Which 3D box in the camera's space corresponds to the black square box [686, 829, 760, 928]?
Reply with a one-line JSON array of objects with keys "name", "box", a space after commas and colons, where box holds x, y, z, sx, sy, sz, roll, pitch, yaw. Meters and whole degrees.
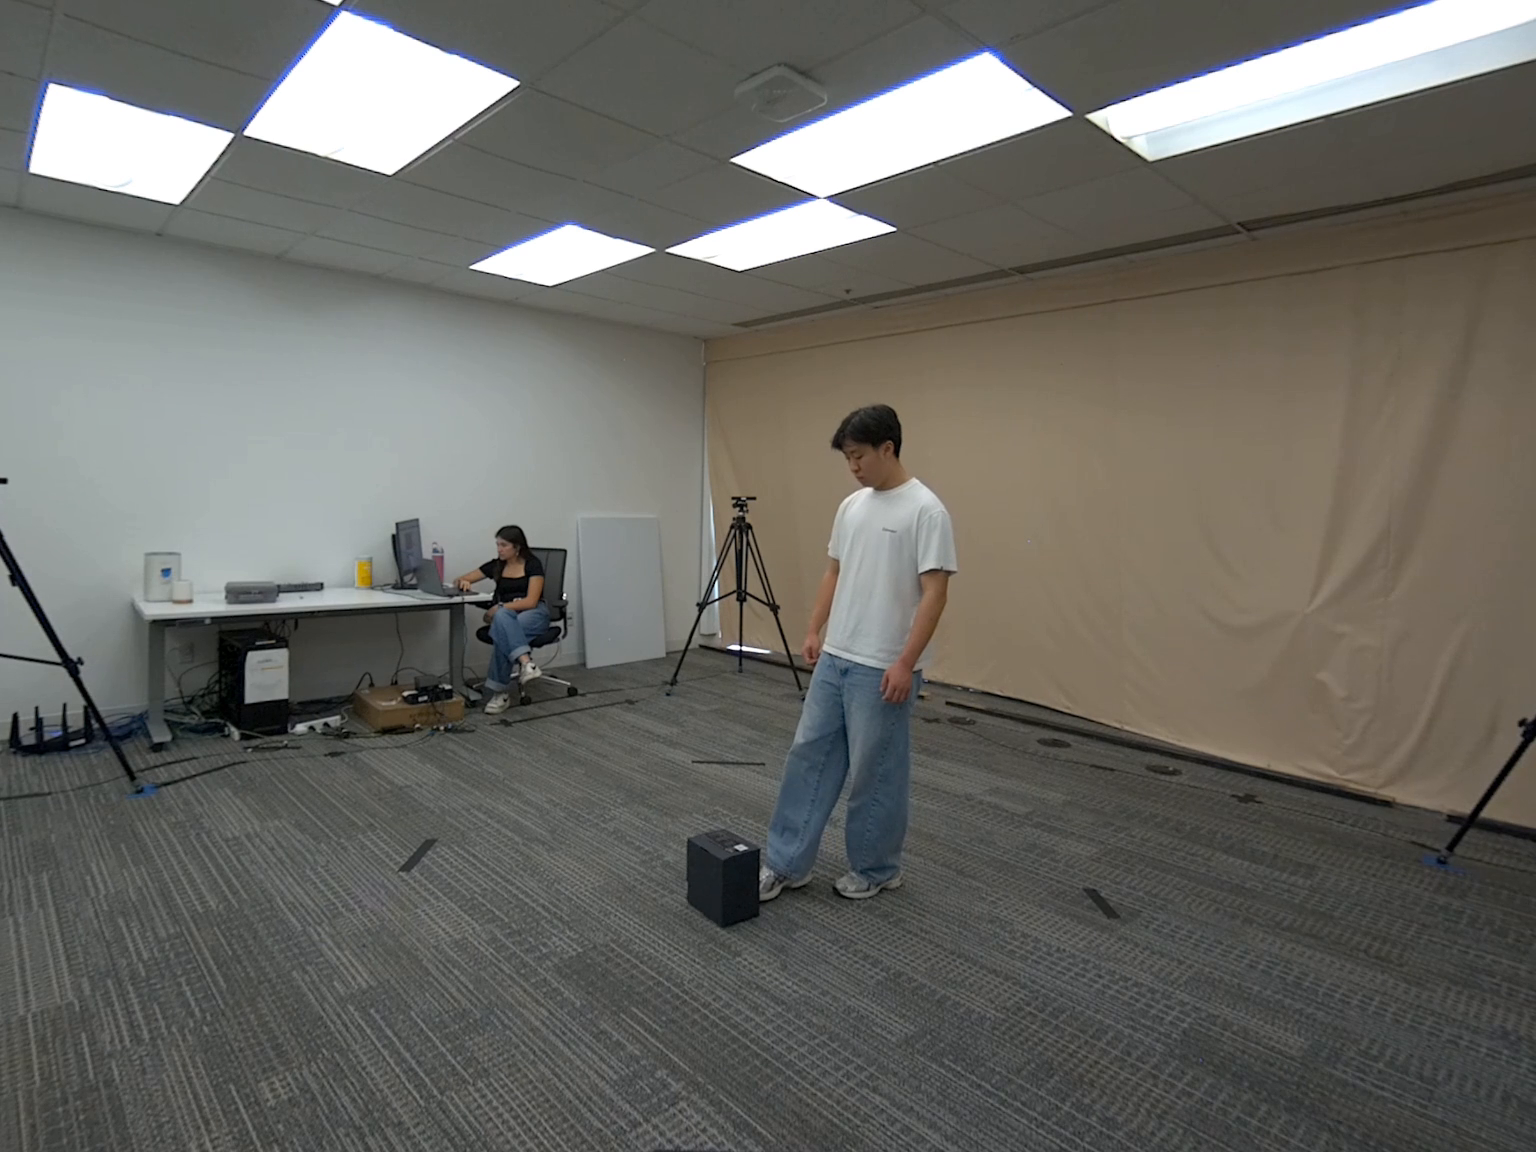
[{"name": "black square box", "box": [-0.154, 1.011, 2.840, 0.152, 0.227, 0.222, -2, 5, -37]}]
